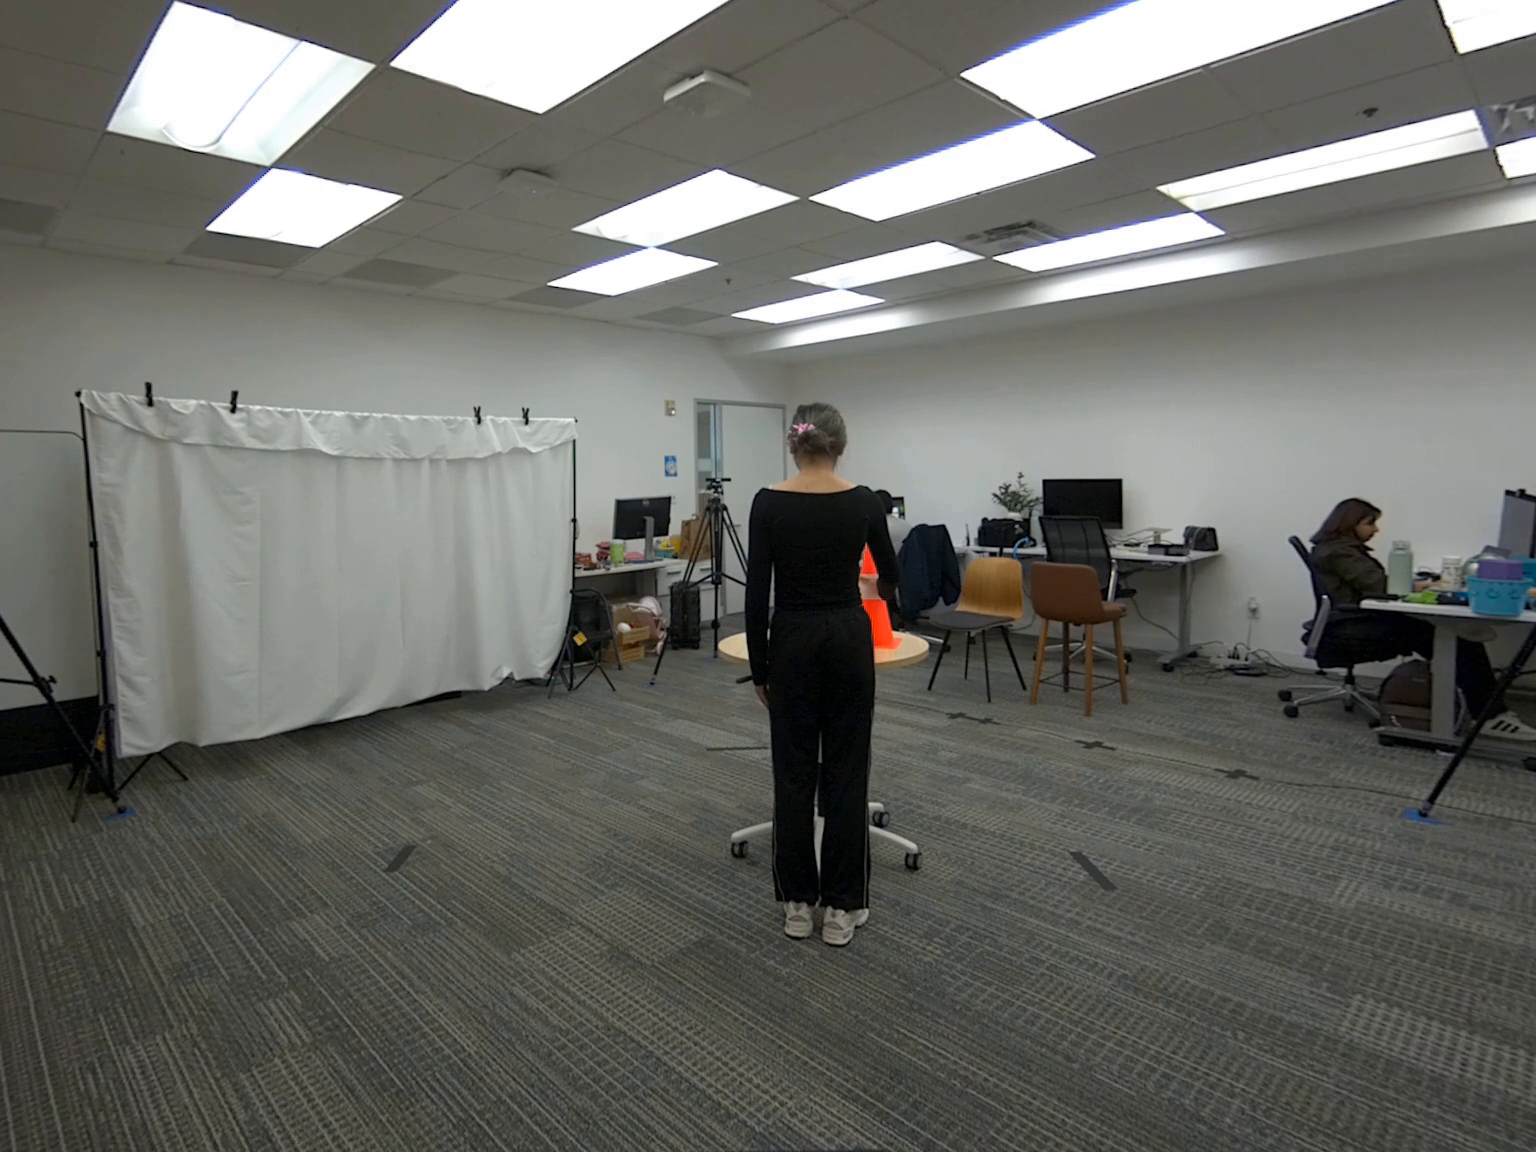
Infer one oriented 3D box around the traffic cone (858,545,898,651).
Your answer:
[{"bbox_3d":[0.390,0.059,3.113,0.207,0.381,0.203,2,8,9],"label":"traffic cone"}]
